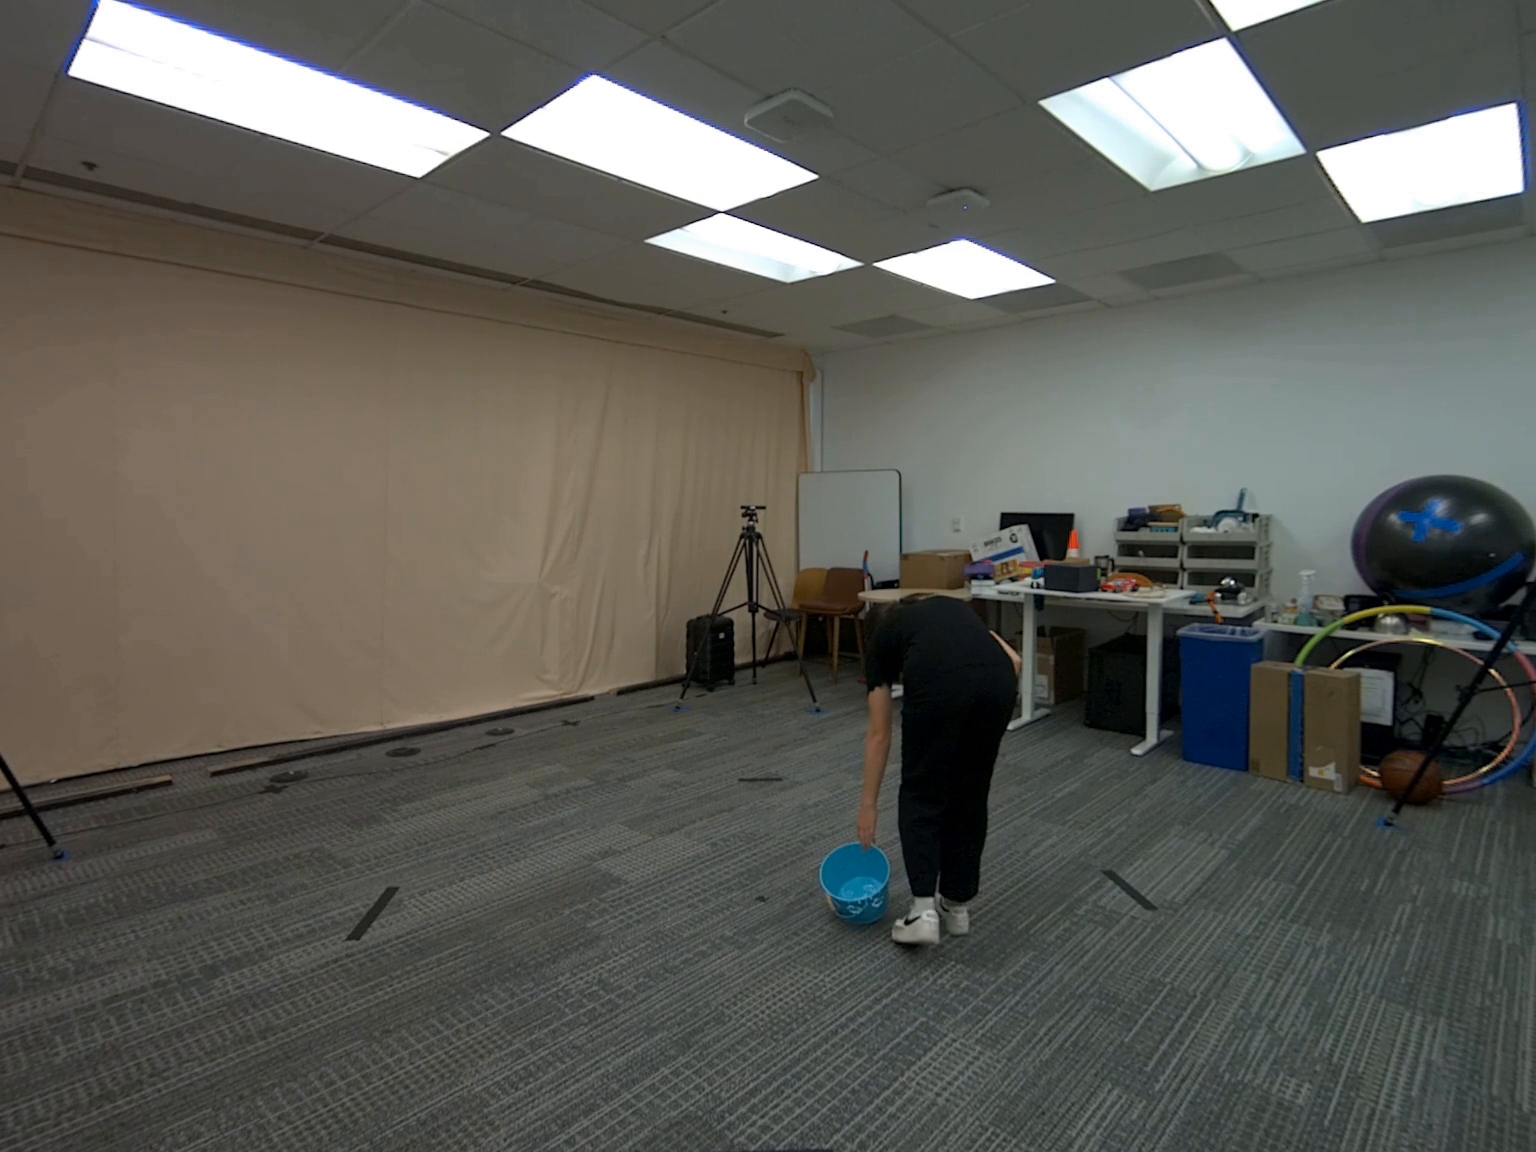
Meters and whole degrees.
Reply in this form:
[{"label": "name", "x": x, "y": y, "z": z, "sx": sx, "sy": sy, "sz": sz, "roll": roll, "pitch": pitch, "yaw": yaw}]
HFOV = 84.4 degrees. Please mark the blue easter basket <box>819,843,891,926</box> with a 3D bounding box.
[{"label": "blue easter basket", "x": 0.313, "y": 1.047, "z": 2.837, "sx": 0.245, "sy": 0.152, "sz": 0.248, "roll": -14, "pitch": 30, "yaw": 6}]
